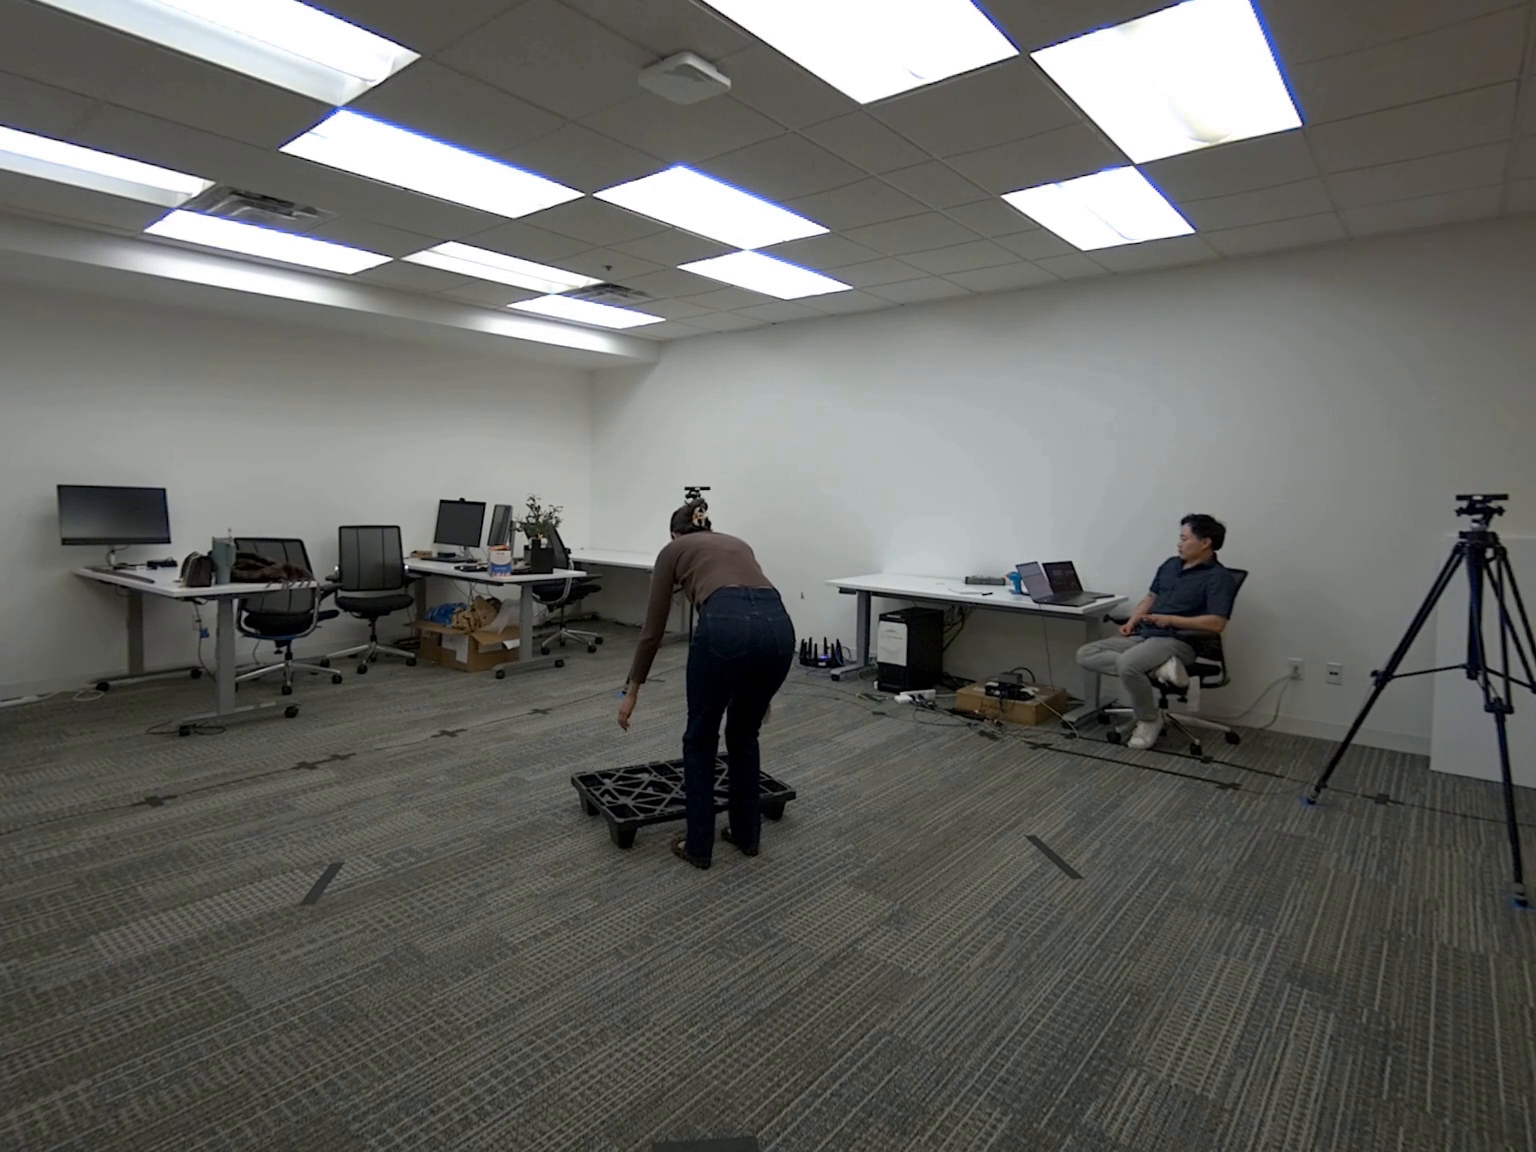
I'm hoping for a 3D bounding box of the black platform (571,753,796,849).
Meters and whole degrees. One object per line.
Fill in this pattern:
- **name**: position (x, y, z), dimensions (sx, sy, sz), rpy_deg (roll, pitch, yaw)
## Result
- **black platform**: position (-0.378, 0.946, 3.633), dimensions (0.785, 0.142, 0.624), rpy_deg (-3, 7, -29)
